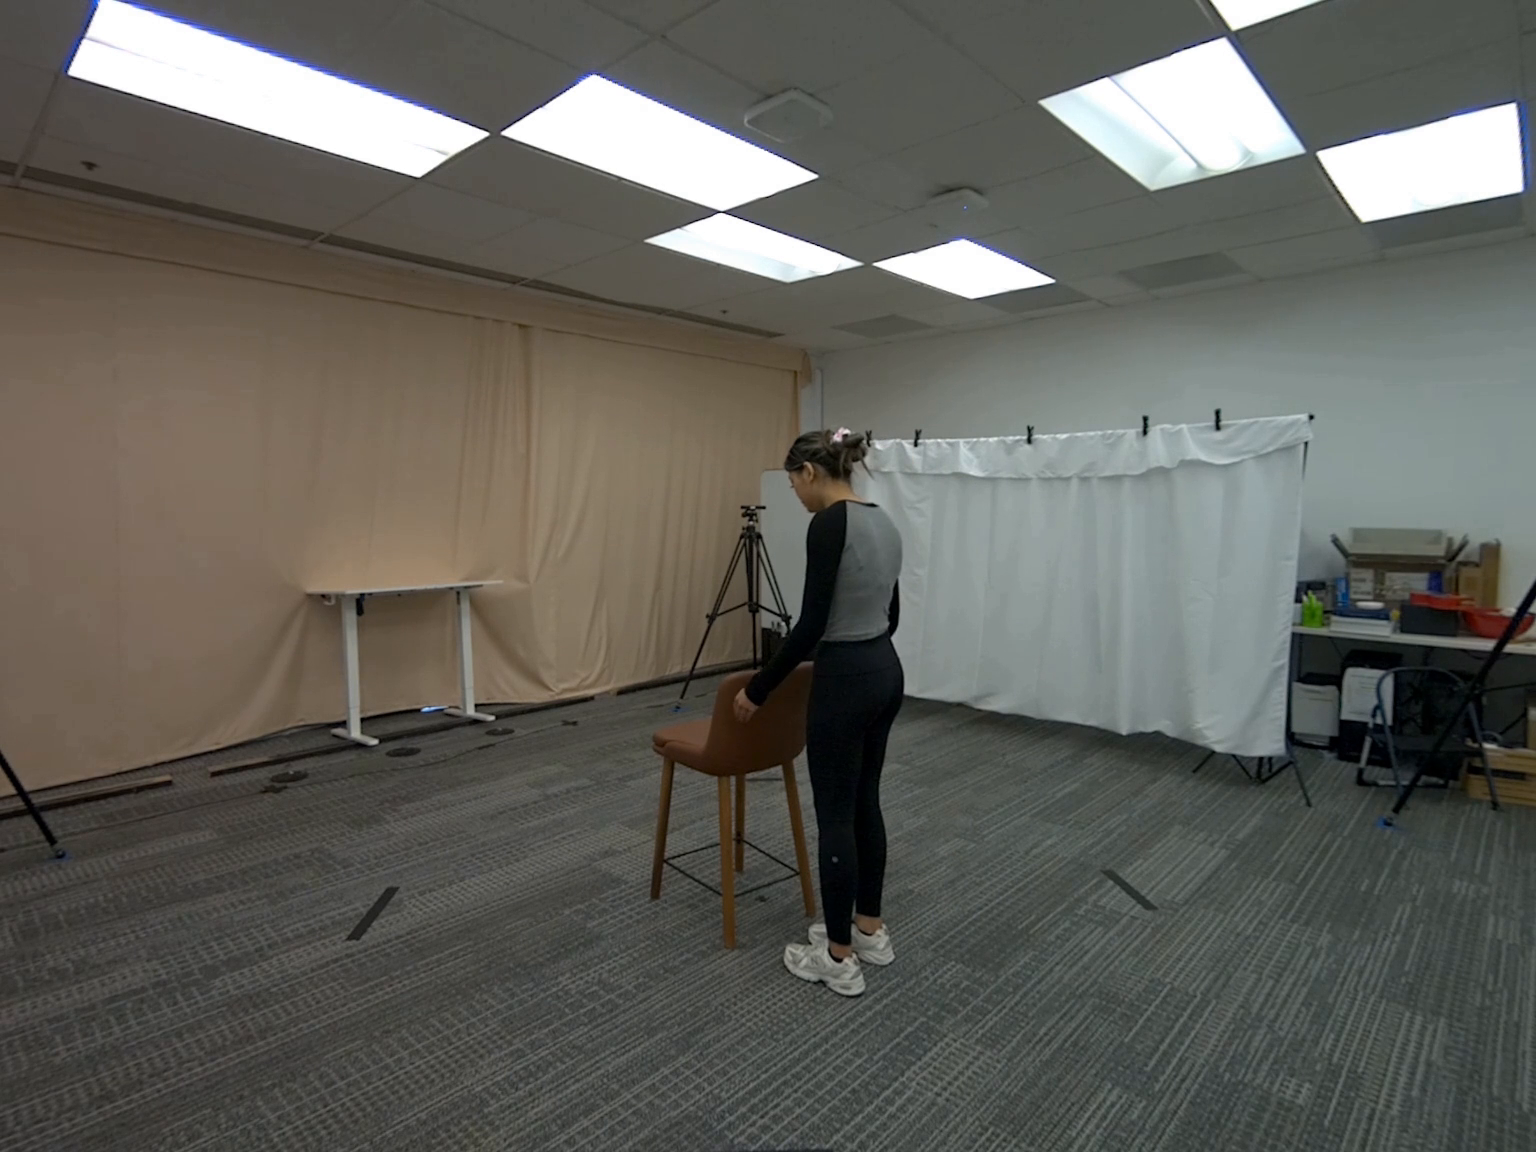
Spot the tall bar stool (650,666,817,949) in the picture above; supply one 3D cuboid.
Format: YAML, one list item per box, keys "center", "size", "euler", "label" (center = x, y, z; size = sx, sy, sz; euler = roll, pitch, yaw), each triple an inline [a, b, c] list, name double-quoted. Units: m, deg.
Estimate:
- center: [-0.115, 0.711, 2.901]
  size: [0.443, 0.887, 0.483]
  euler: [-2, 6, -38]
  label: "tall bar stool"
